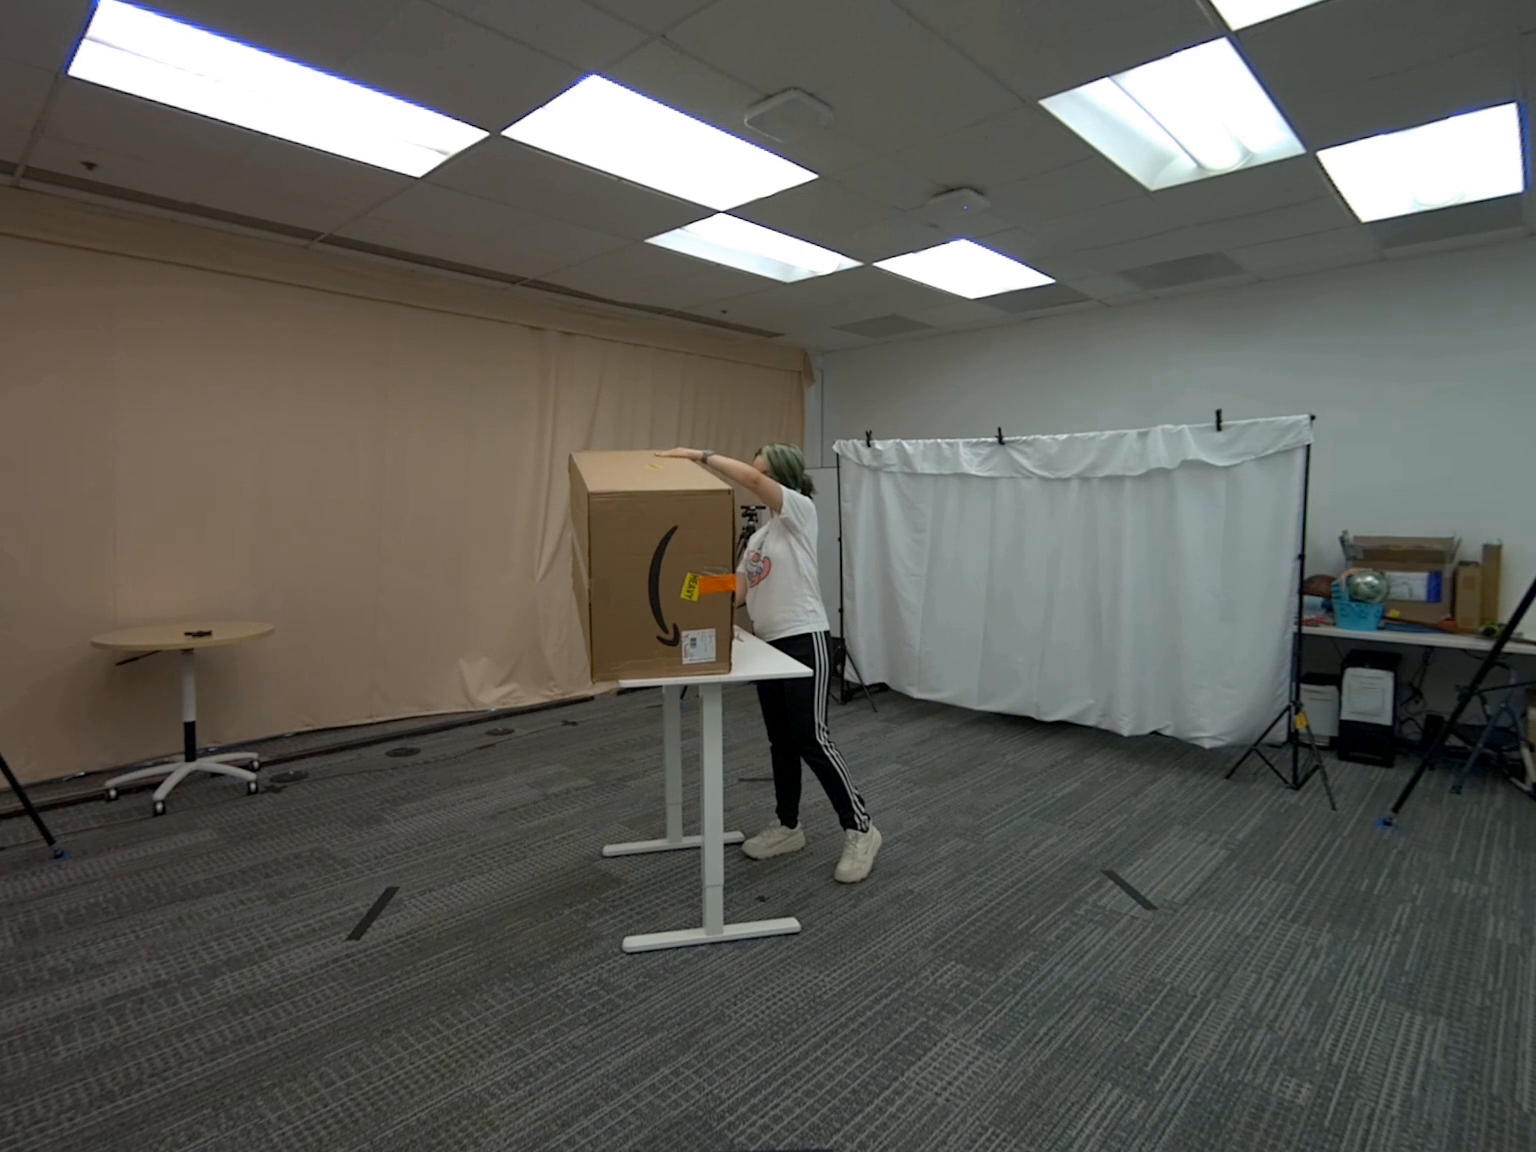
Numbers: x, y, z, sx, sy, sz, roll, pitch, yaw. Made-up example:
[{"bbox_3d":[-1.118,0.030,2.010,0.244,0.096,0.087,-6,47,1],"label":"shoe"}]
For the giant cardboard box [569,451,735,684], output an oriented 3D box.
[{"bbox_3d":[-0.434,-0.087,2.943,0.441,0.579,1.048,-3,14,-13],"label":"giant cardboard box"}]
